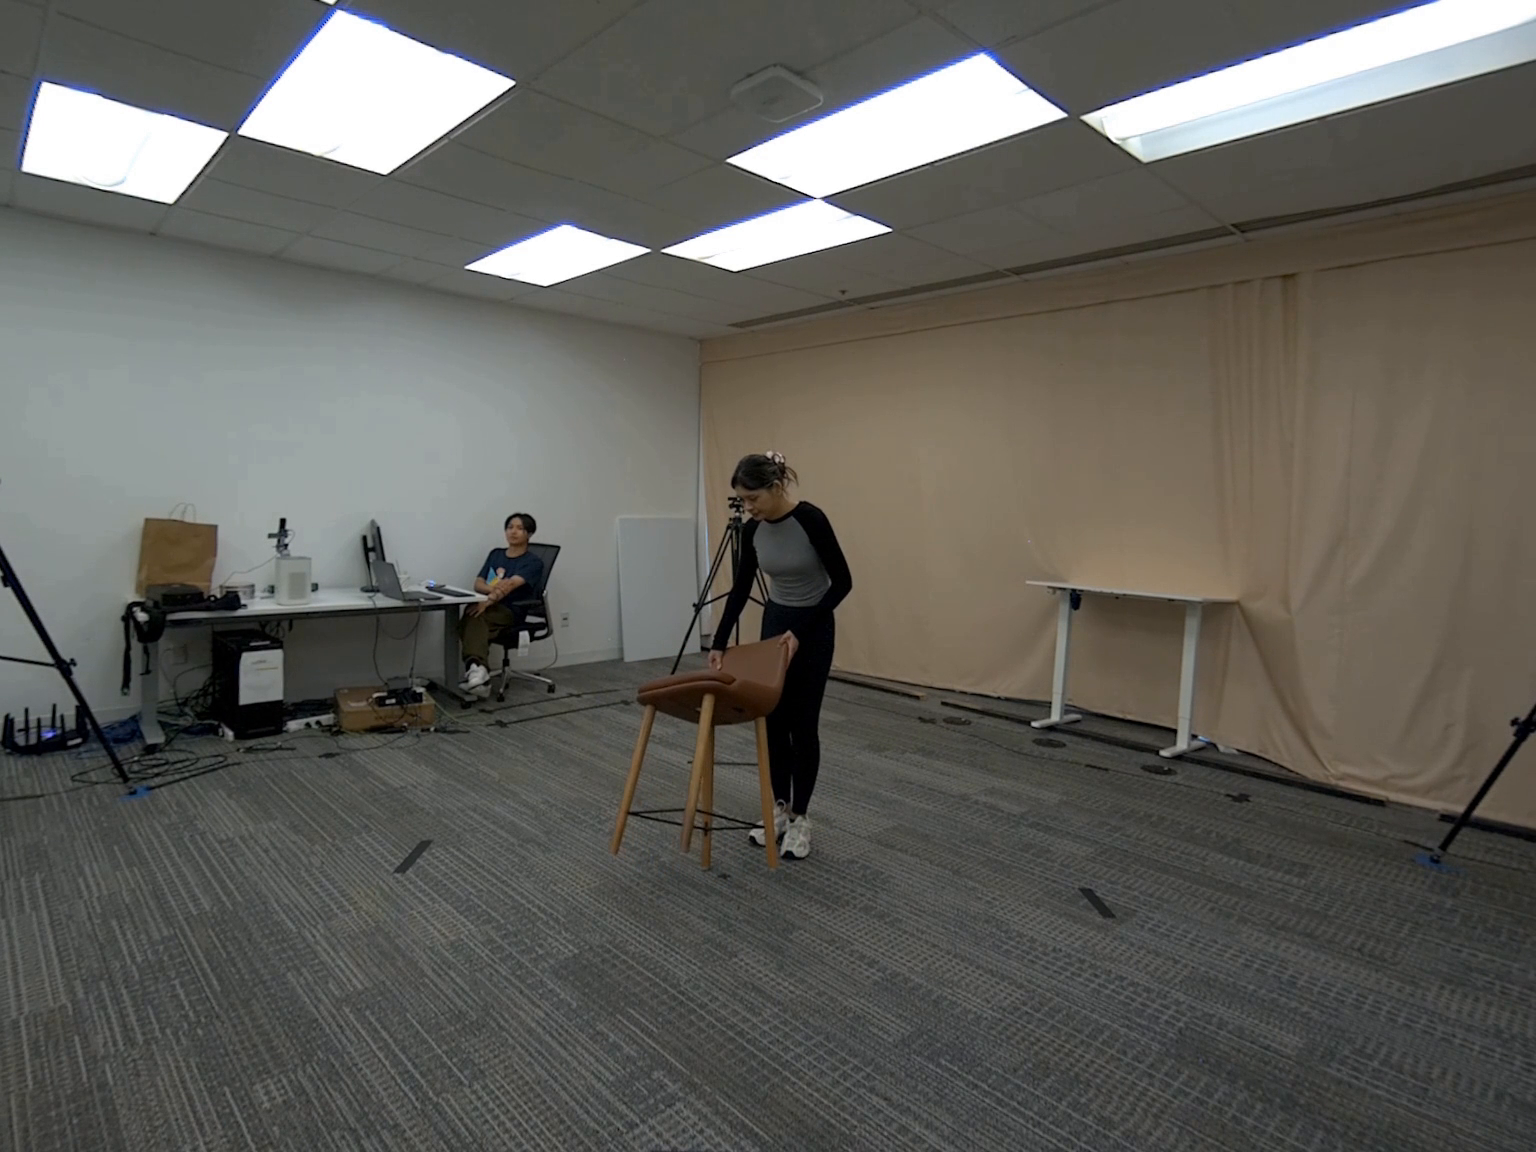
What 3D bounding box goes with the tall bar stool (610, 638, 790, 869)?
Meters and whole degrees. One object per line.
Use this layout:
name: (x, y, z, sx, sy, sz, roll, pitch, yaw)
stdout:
tall bar stool: (-0.224, 0.593, 3.090, 0.454, 0.903, 0.463, 27, -32, -36)
